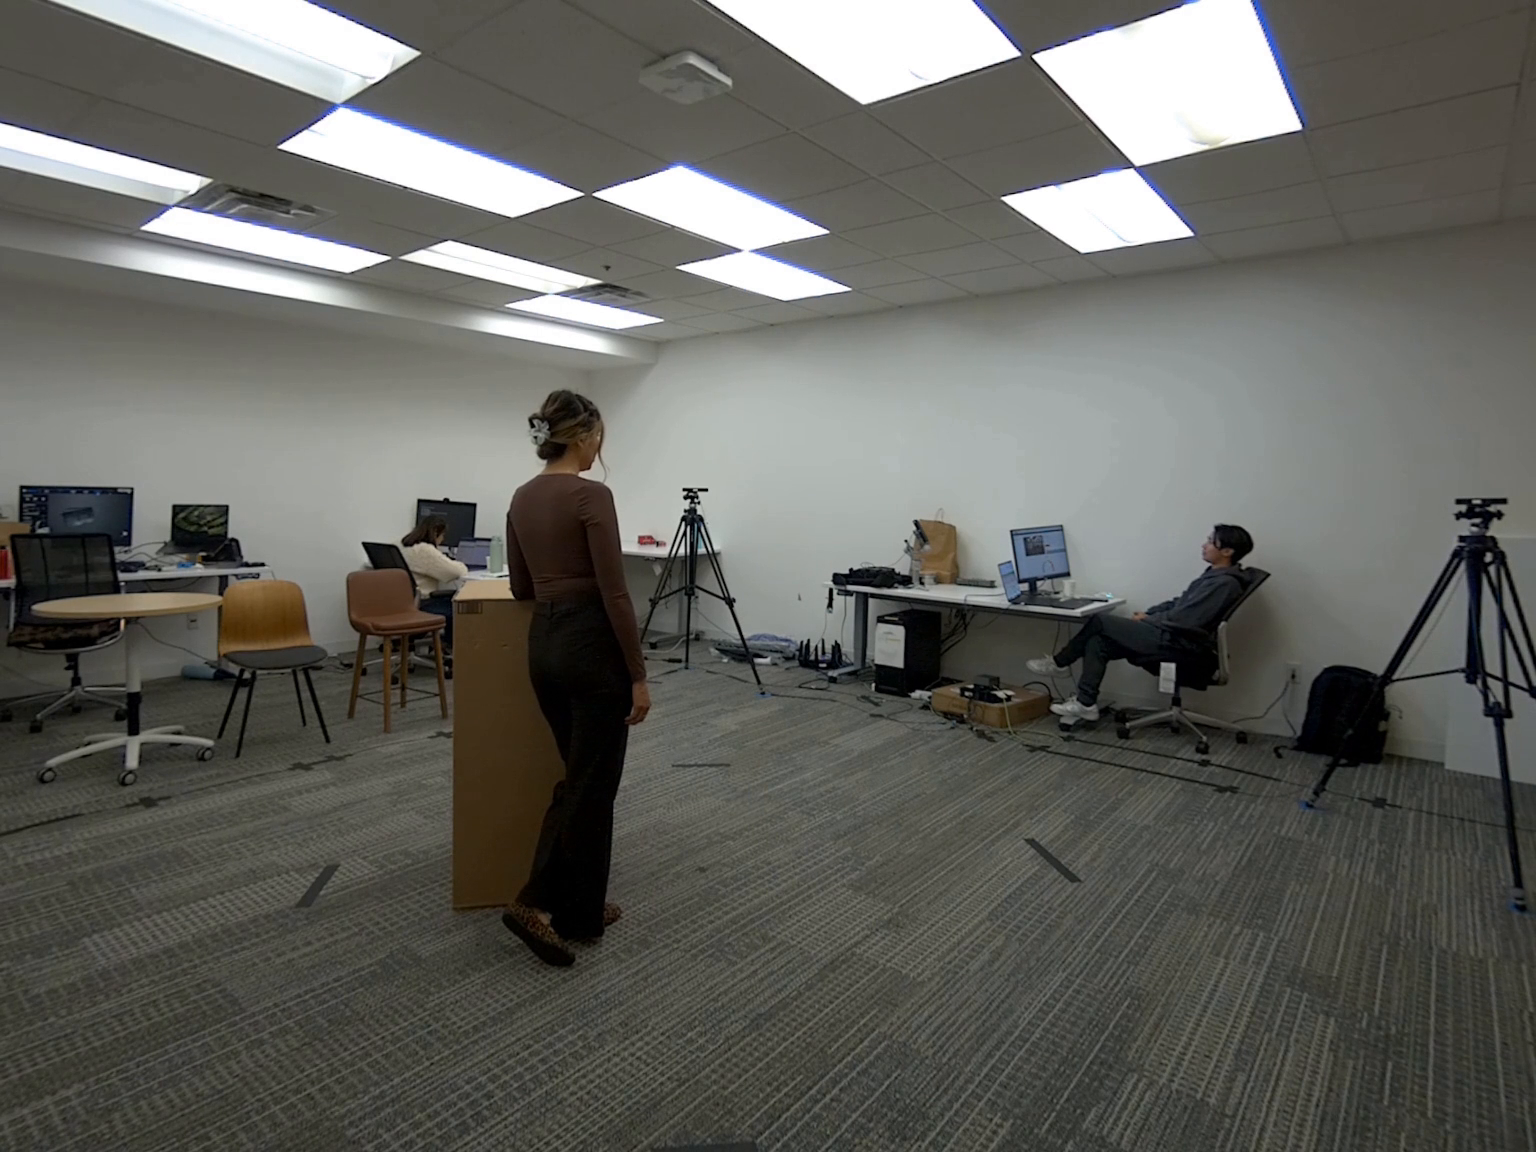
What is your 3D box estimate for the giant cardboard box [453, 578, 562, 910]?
[{"bbox_3d":[-0.911,0.554,3.080,0.440,1.024,0.594,0,3,-15],"label":"giant cardboard box"}]
